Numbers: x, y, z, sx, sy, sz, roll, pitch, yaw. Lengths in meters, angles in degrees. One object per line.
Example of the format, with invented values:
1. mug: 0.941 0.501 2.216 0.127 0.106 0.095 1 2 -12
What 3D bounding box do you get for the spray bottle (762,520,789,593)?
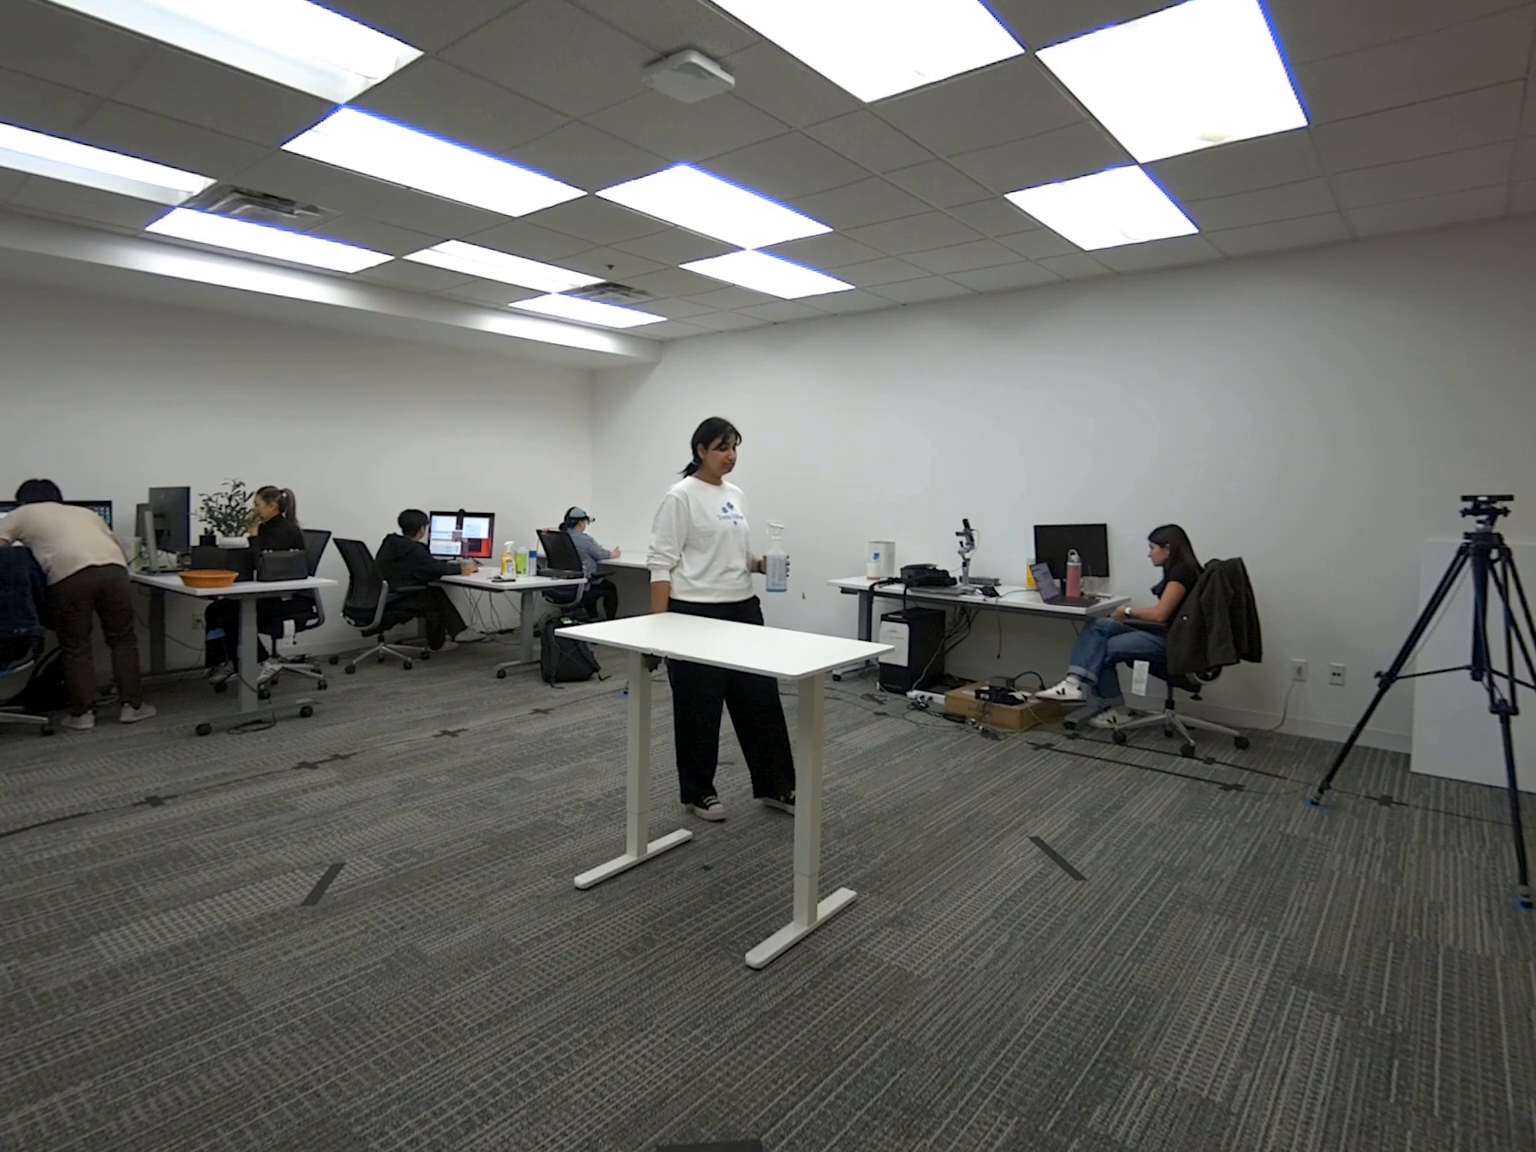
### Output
1. spray bottle: 0.036 -0.079 3.527 0.090 0.298 0.087 -1 -2 0
